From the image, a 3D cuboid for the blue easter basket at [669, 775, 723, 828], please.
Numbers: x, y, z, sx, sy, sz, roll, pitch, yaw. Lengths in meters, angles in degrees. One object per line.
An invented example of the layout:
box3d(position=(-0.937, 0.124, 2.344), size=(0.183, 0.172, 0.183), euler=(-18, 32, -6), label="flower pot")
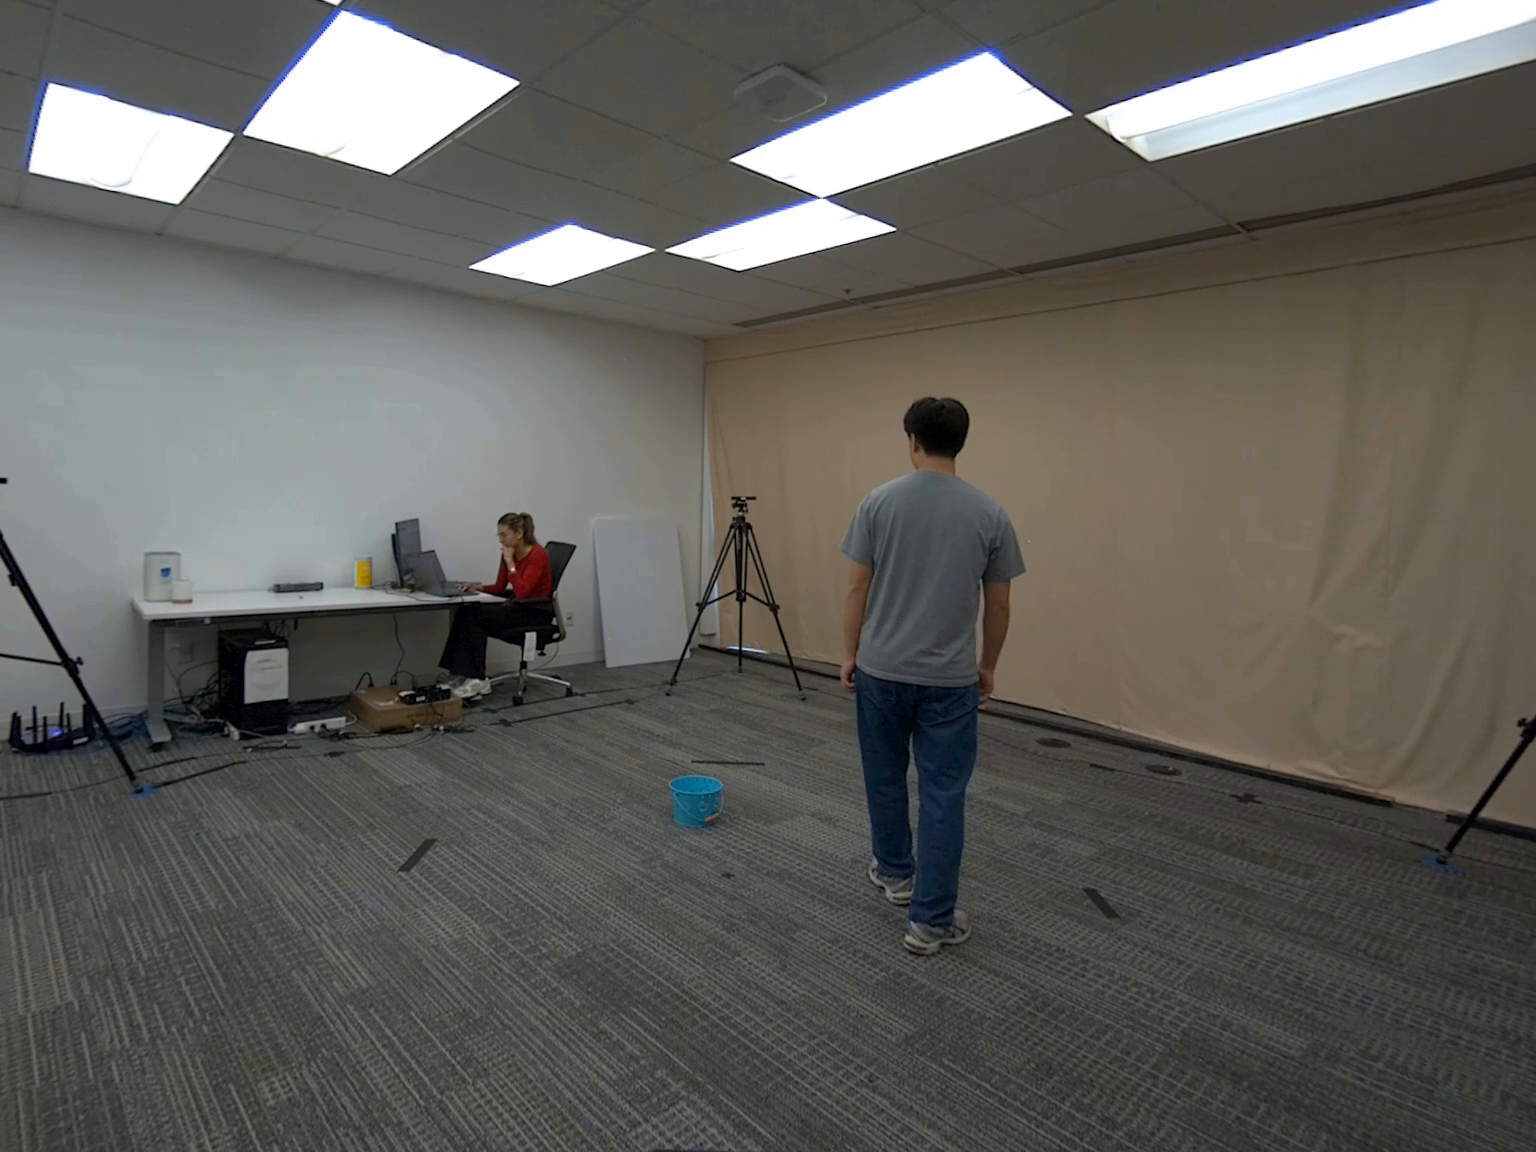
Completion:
box3d(position=(-0.323, 0.975, 3.639), size=(0.243, 0.155, 0.244), euler=(1, 5, -1), label="blue easter basket")
